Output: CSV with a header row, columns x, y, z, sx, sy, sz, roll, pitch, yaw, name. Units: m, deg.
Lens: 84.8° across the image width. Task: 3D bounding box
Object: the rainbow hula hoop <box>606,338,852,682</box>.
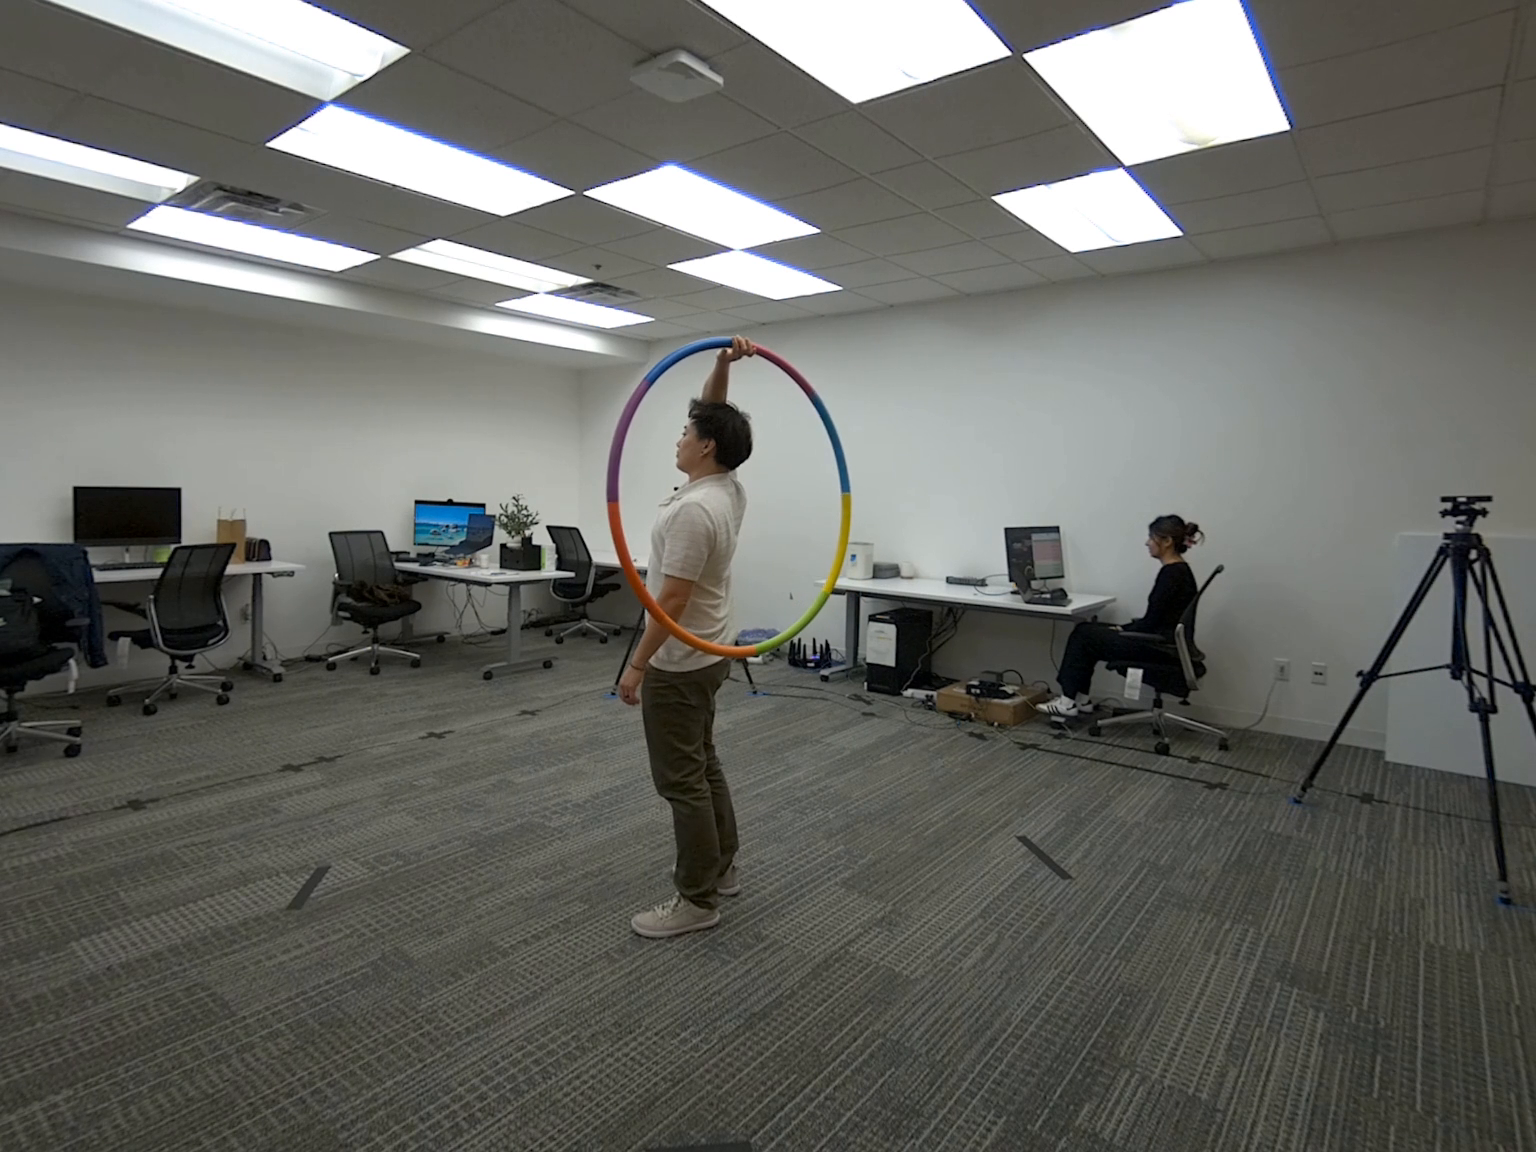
x,y,z,sx,sy,sz,roll,pitch,yaw,name
-0.095,-0.247,2.658,0.949,0.980,0.036,-3,-1,-41,rainbow hula hoop
